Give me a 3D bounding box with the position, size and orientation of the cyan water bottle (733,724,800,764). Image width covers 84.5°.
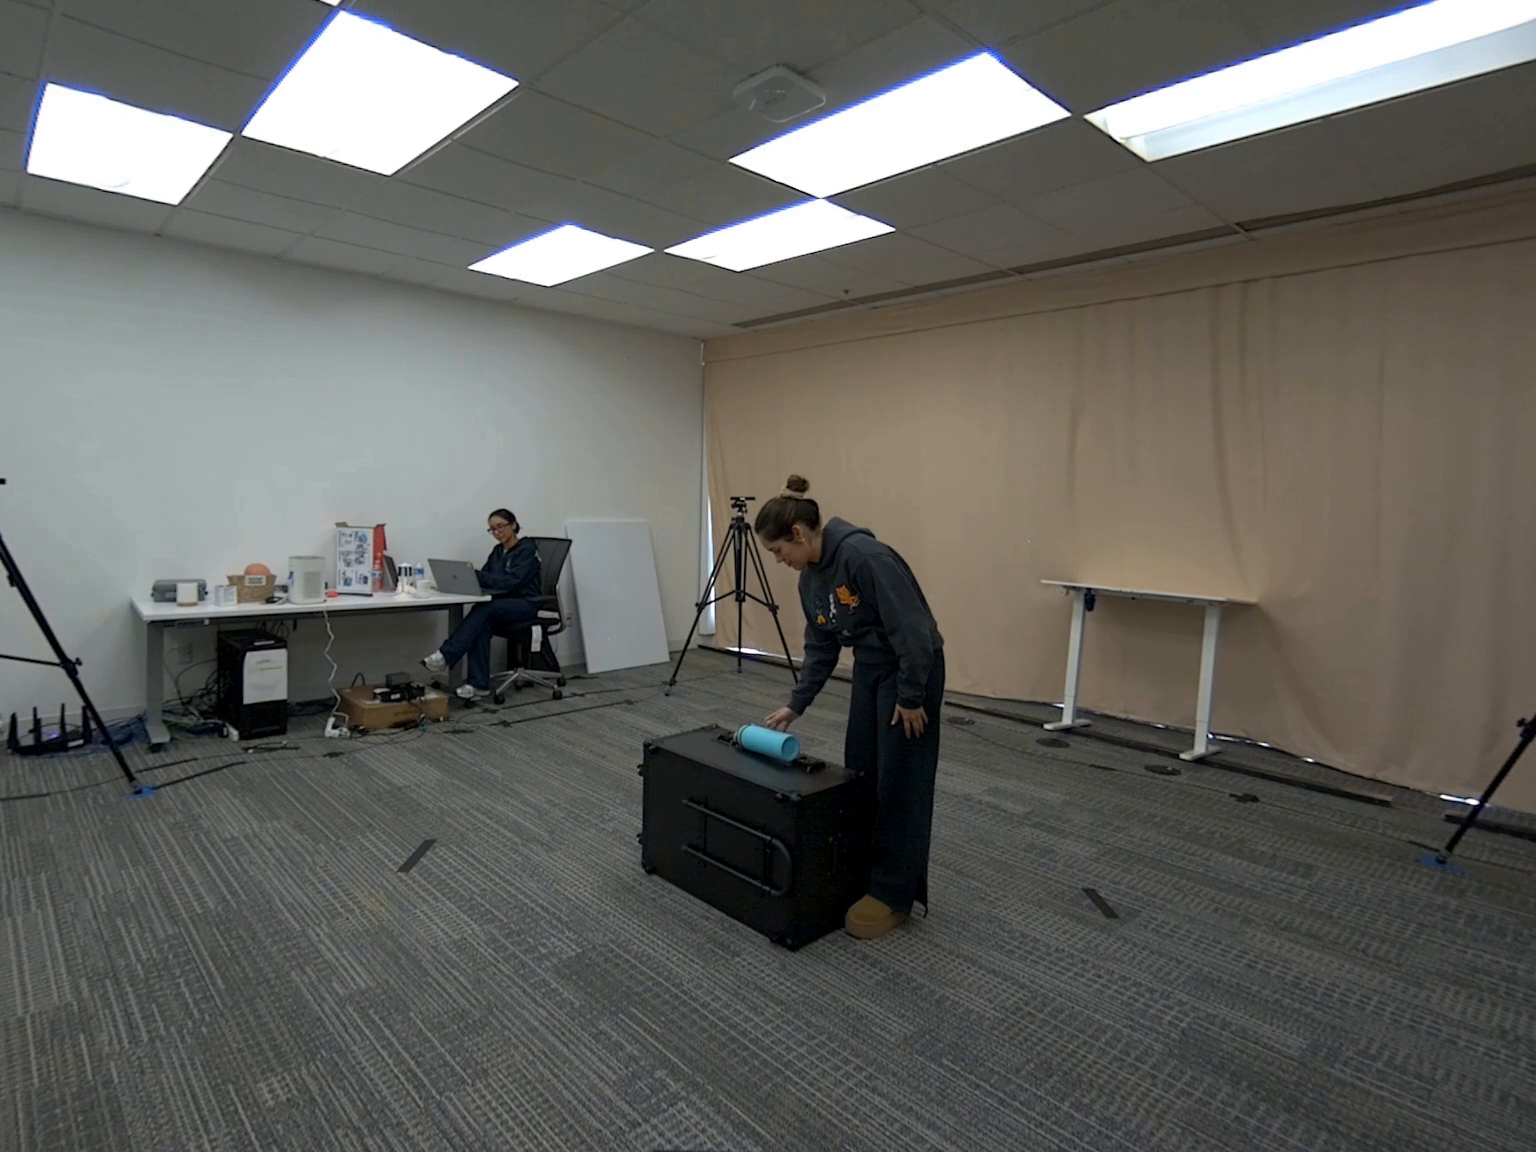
[{"bbox_3d":[-0.017,0.586,2.997,0.090,0.092,0.290,-3,2,-38],"label":"cyan water bottle"}]
